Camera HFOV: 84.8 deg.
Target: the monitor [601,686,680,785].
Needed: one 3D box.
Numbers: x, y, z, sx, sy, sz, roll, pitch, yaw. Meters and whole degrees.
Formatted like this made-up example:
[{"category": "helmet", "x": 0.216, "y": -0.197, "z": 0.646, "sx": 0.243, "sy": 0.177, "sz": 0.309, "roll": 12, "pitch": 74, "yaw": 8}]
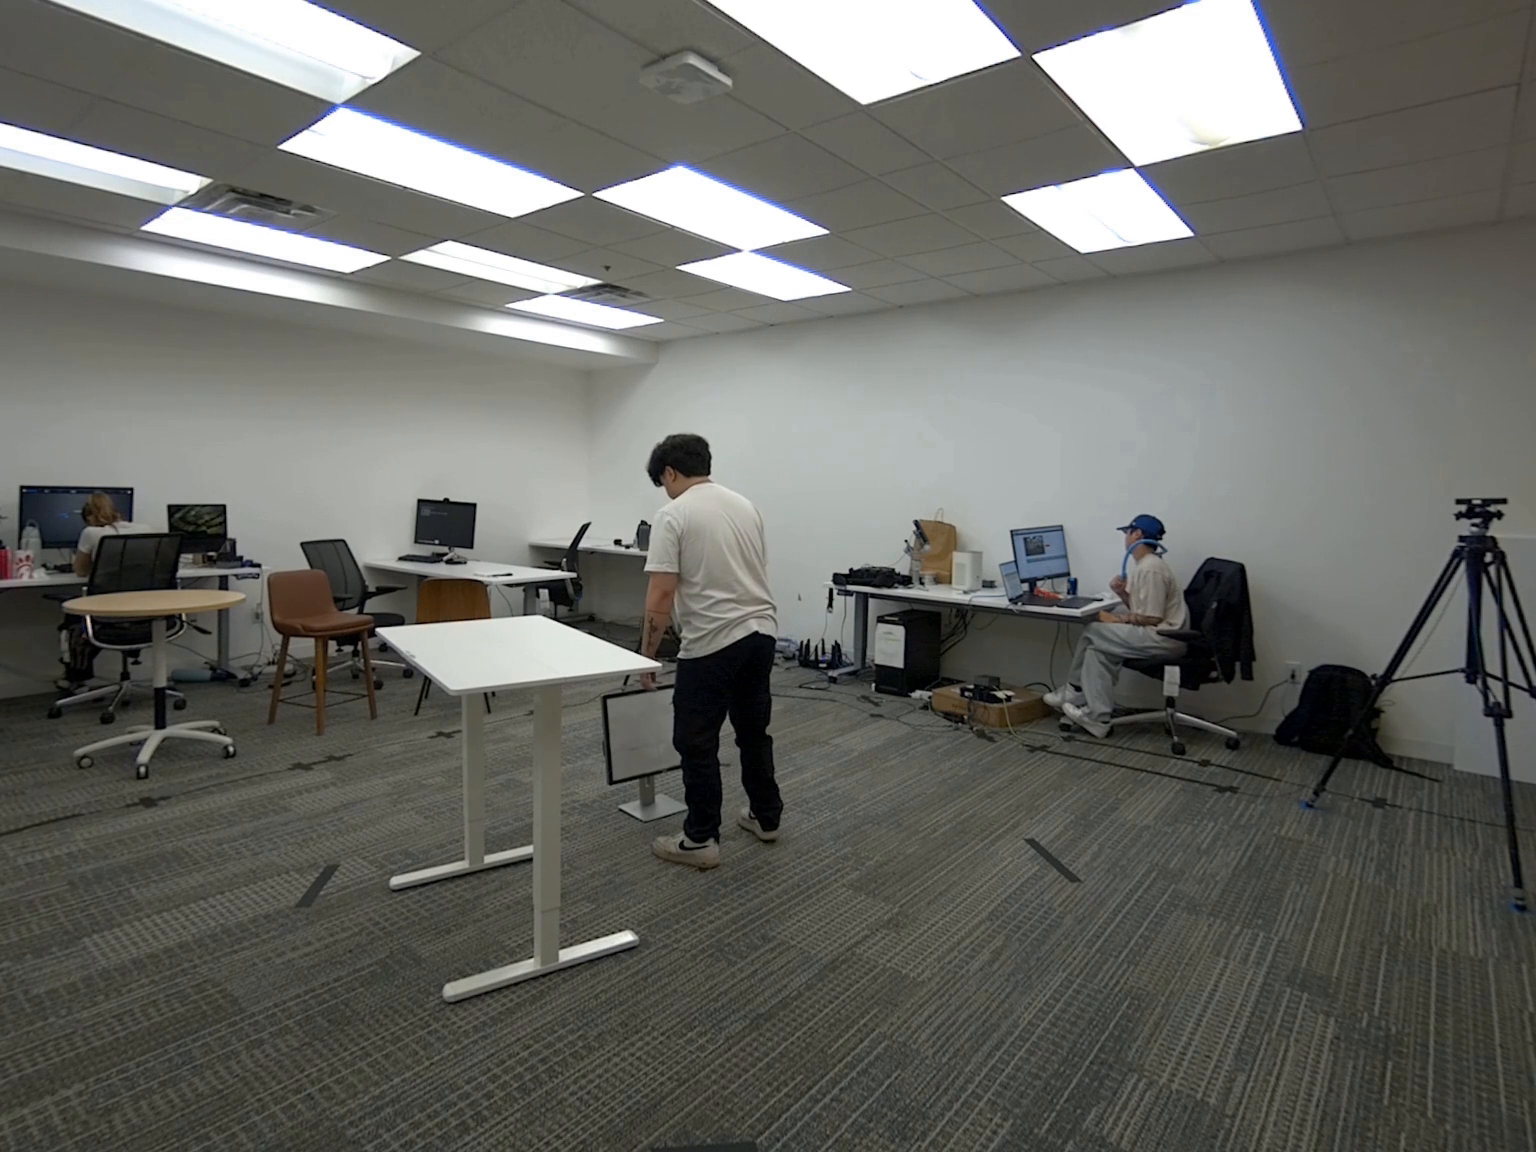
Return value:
[{"category": "monitor", "x": -0.522, "y": 0.744, "z": 3.694, "sx": 0.548, "sy": 0.554, "sz": 0.216, "roll": -3, "pitch": 0, "yaw": -42}]
